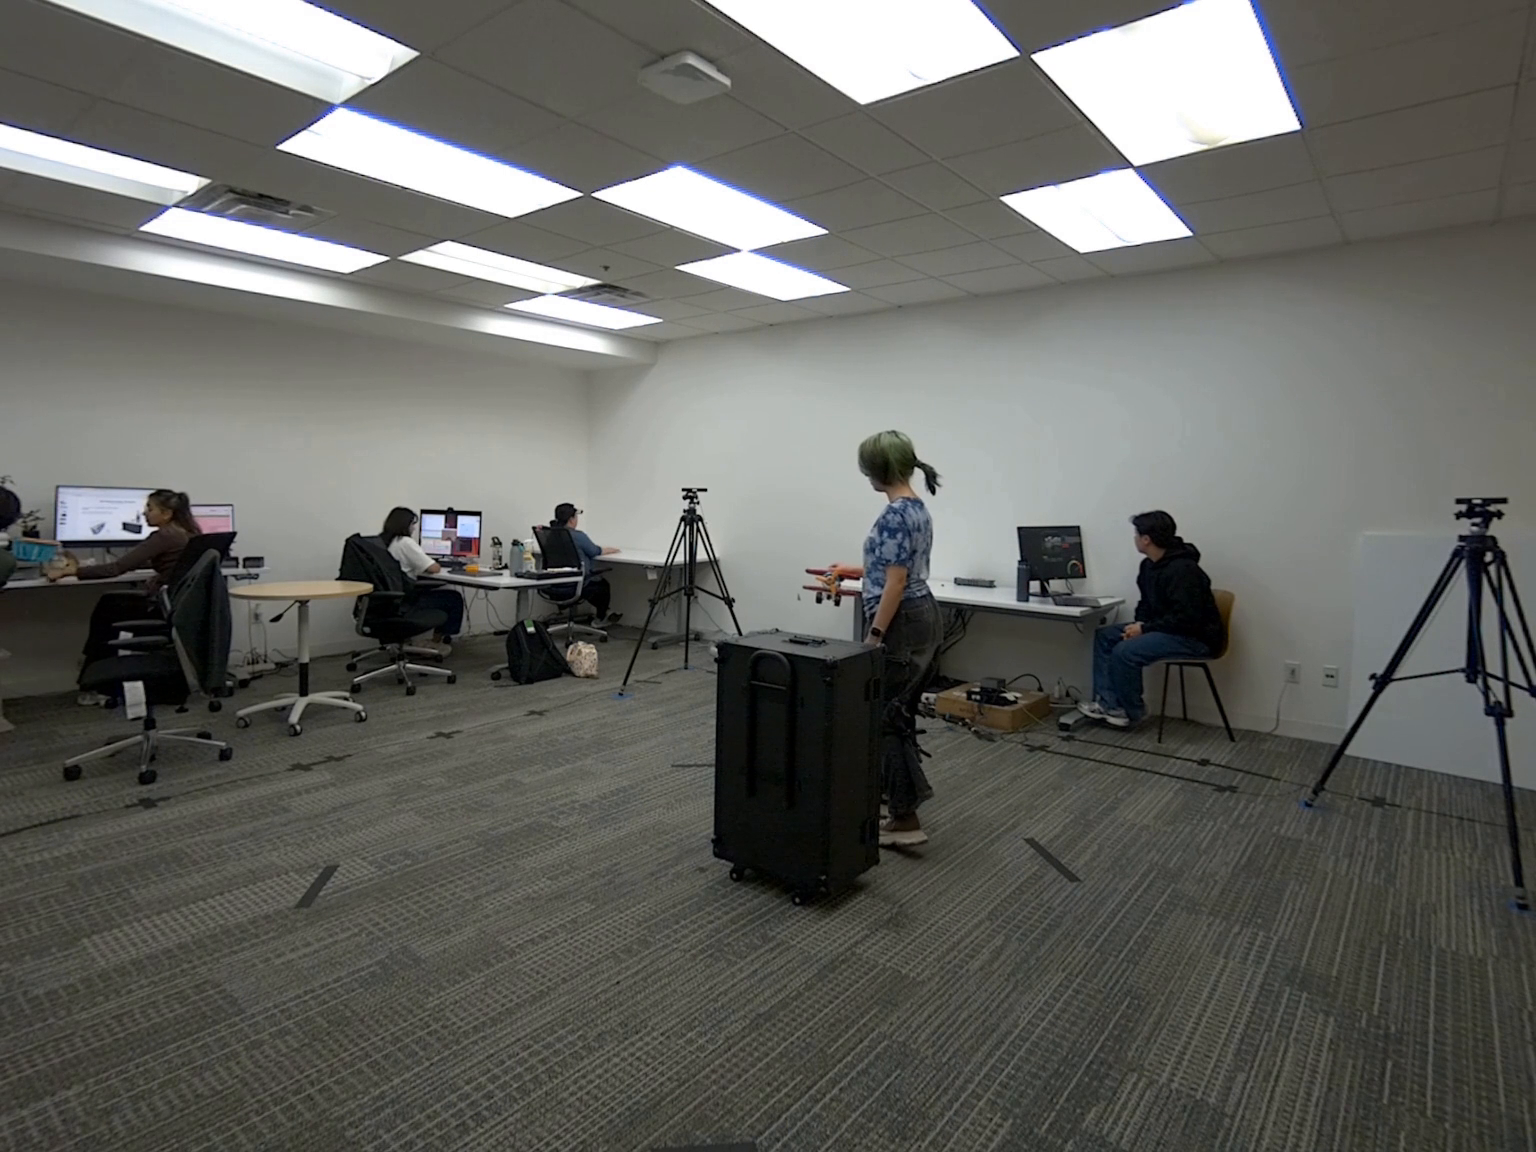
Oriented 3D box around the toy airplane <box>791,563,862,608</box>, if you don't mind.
[{"bbox_3d":[0.273,0.041,3.961,0.247,0.155,0.265,2,7,-15],"label":"toy airplane"}]
